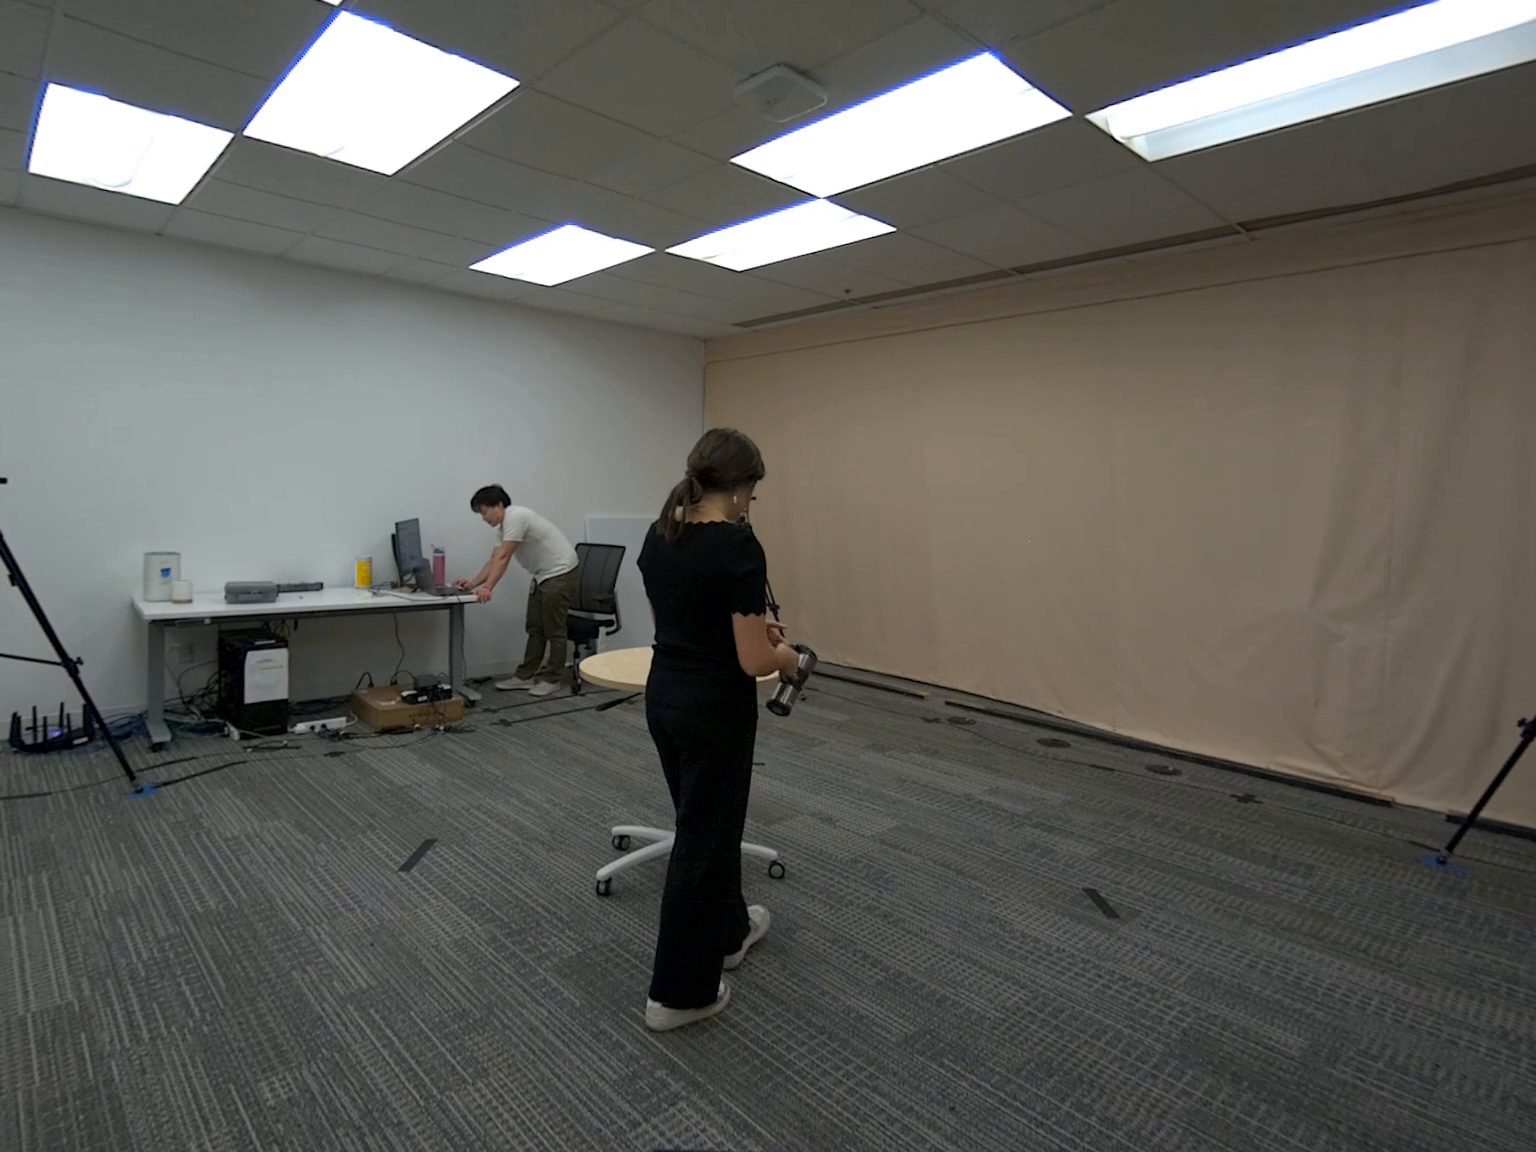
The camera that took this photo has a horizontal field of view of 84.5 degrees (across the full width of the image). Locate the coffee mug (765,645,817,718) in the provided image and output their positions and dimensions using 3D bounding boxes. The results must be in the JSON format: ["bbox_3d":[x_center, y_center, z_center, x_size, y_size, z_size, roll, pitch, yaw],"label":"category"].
[{"bbox_3d":[0.040,0.319,2.403,0.119,0.204,0.089,42,-31,-21],"label":"coffee mug"}]
